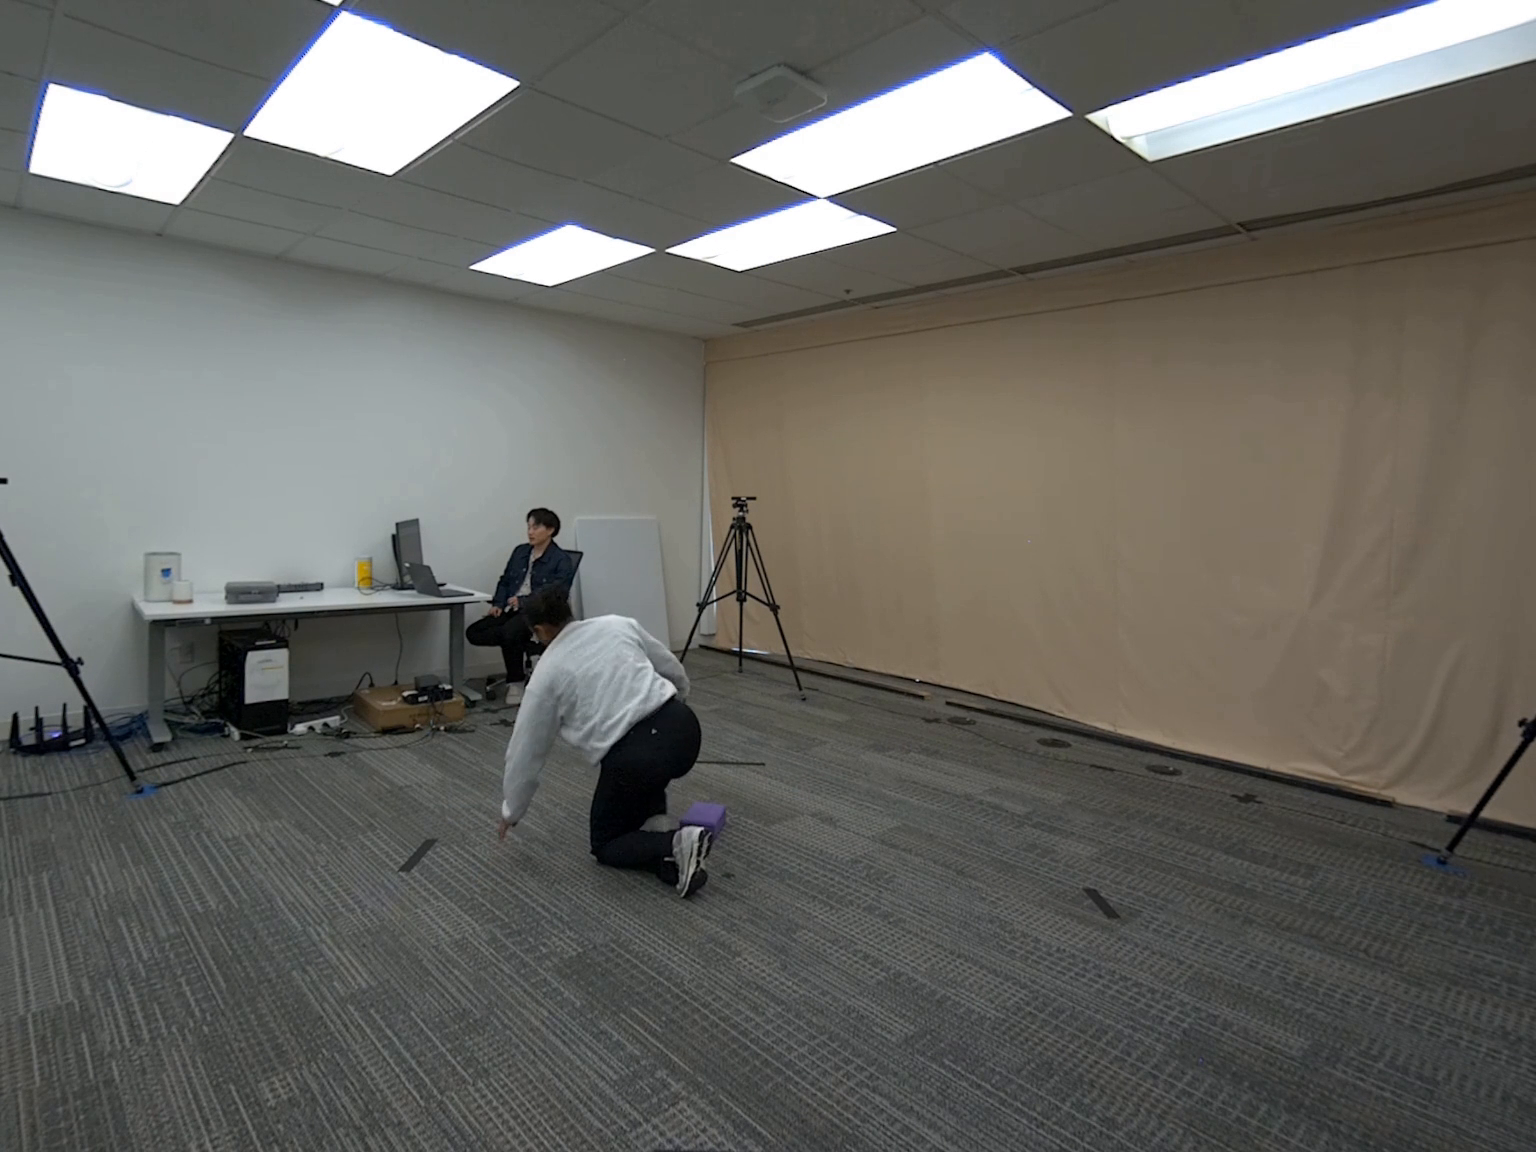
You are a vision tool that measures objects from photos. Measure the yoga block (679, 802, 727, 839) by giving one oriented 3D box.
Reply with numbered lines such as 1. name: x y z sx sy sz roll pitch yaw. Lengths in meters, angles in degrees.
1. yoga block: -0.280 1.024 3.529 0.150 0.076 0.228 4 5 10
